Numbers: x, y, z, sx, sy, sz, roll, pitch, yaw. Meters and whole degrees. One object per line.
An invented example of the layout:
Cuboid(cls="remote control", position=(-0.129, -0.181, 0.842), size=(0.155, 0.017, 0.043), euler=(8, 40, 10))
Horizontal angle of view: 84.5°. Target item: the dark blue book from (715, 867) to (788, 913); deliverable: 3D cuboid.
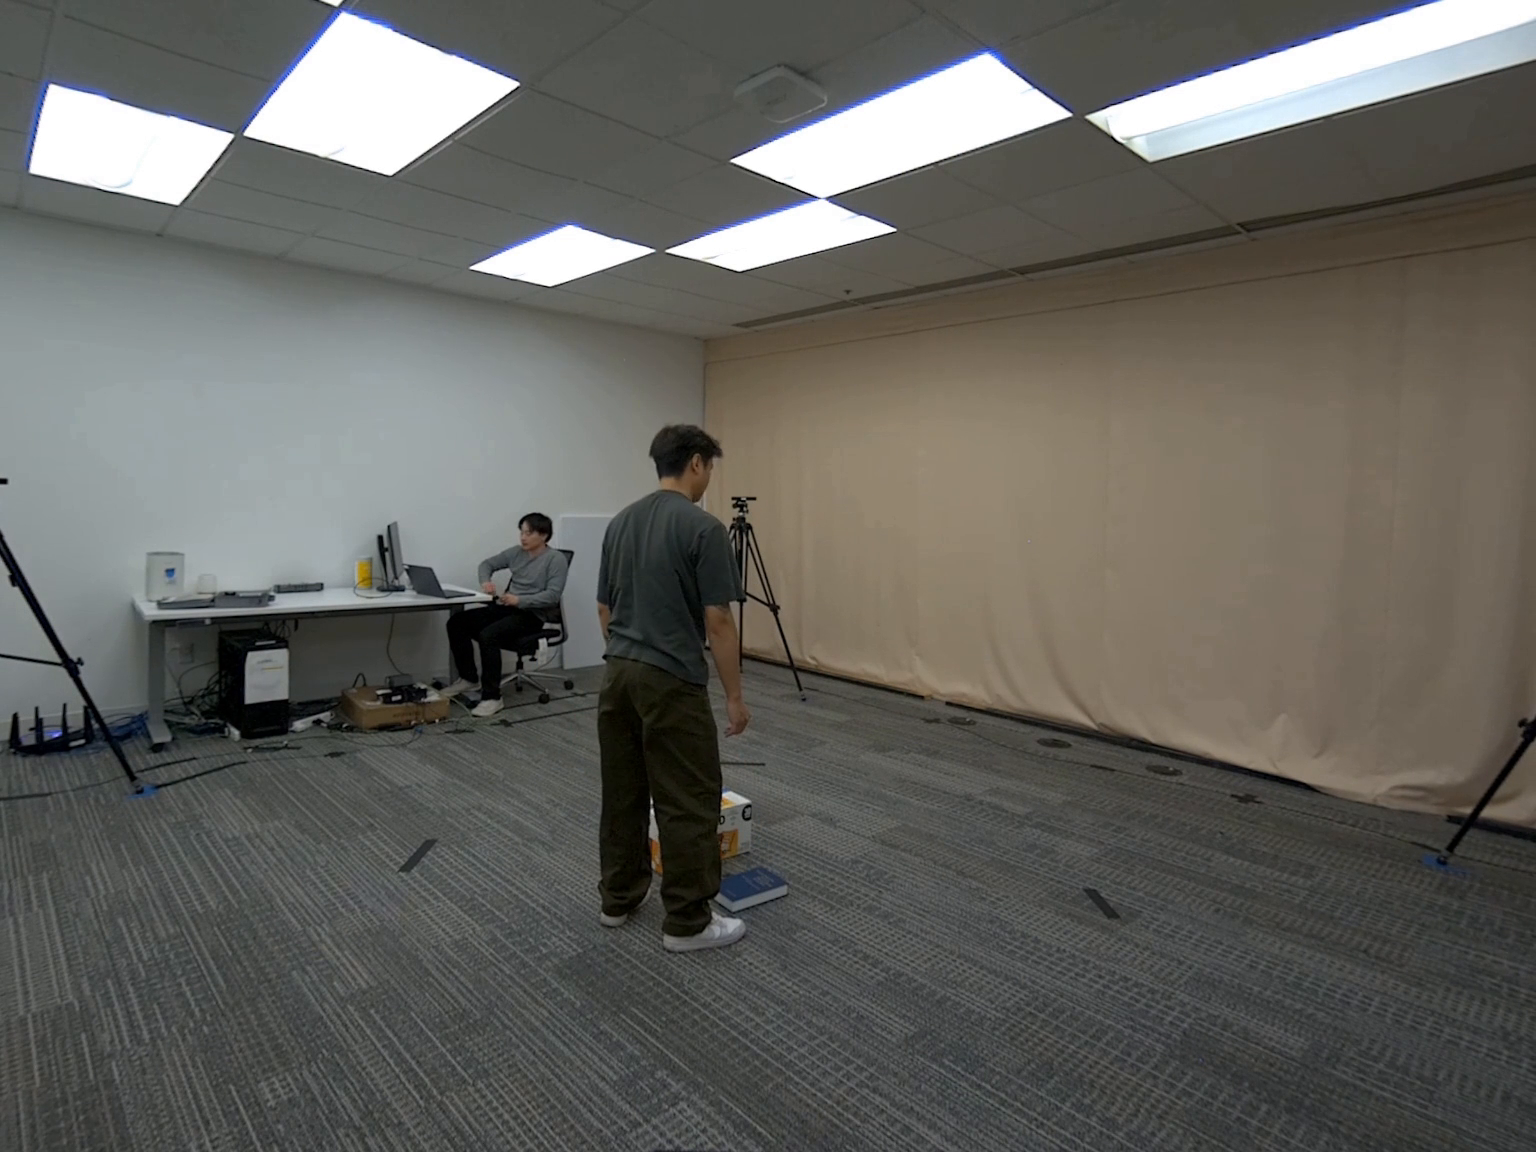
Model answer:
Cuboid(cls="dark blue book", position=(-0.074, 1.103, 2.950), size=(0.240, 0.045, 0.167), euler=(-3, 7, -37))
